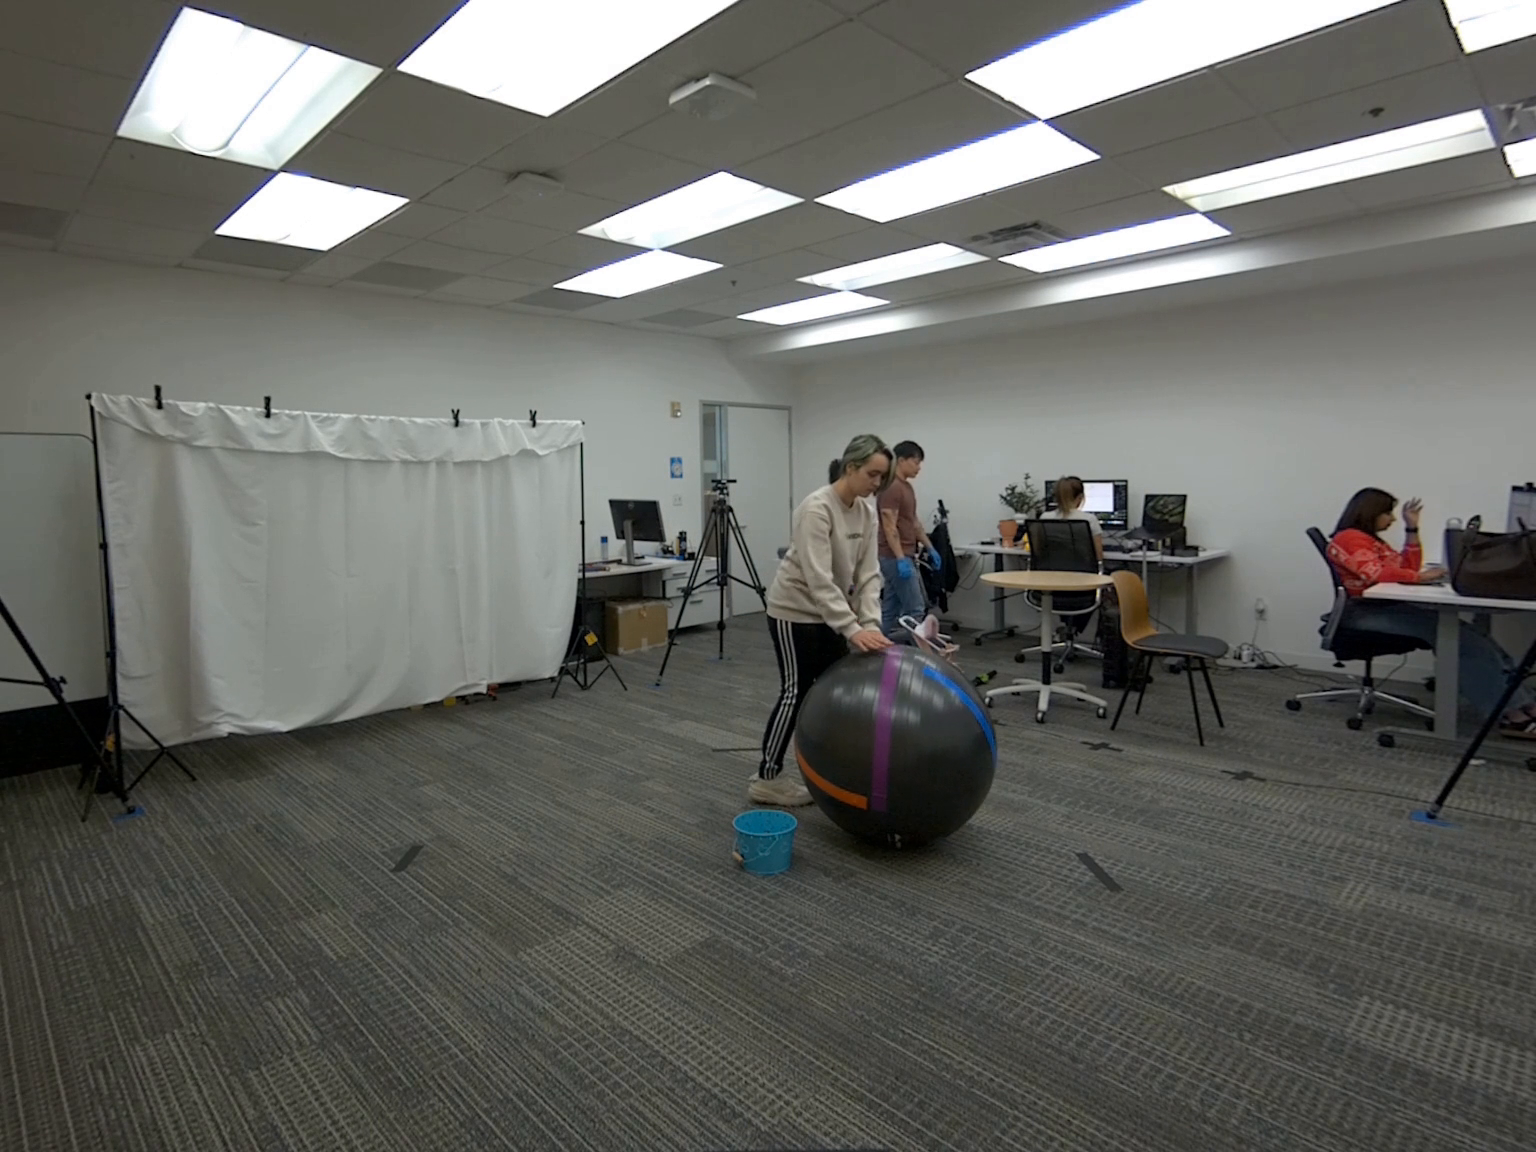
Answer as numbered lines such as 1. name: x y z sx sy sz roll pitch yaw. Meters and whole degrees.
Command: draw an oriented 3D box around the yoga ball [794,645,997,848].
1. yoga ball: 0.488 0.653 3.287 0.757 0.755 0.762 -1 5 -2
